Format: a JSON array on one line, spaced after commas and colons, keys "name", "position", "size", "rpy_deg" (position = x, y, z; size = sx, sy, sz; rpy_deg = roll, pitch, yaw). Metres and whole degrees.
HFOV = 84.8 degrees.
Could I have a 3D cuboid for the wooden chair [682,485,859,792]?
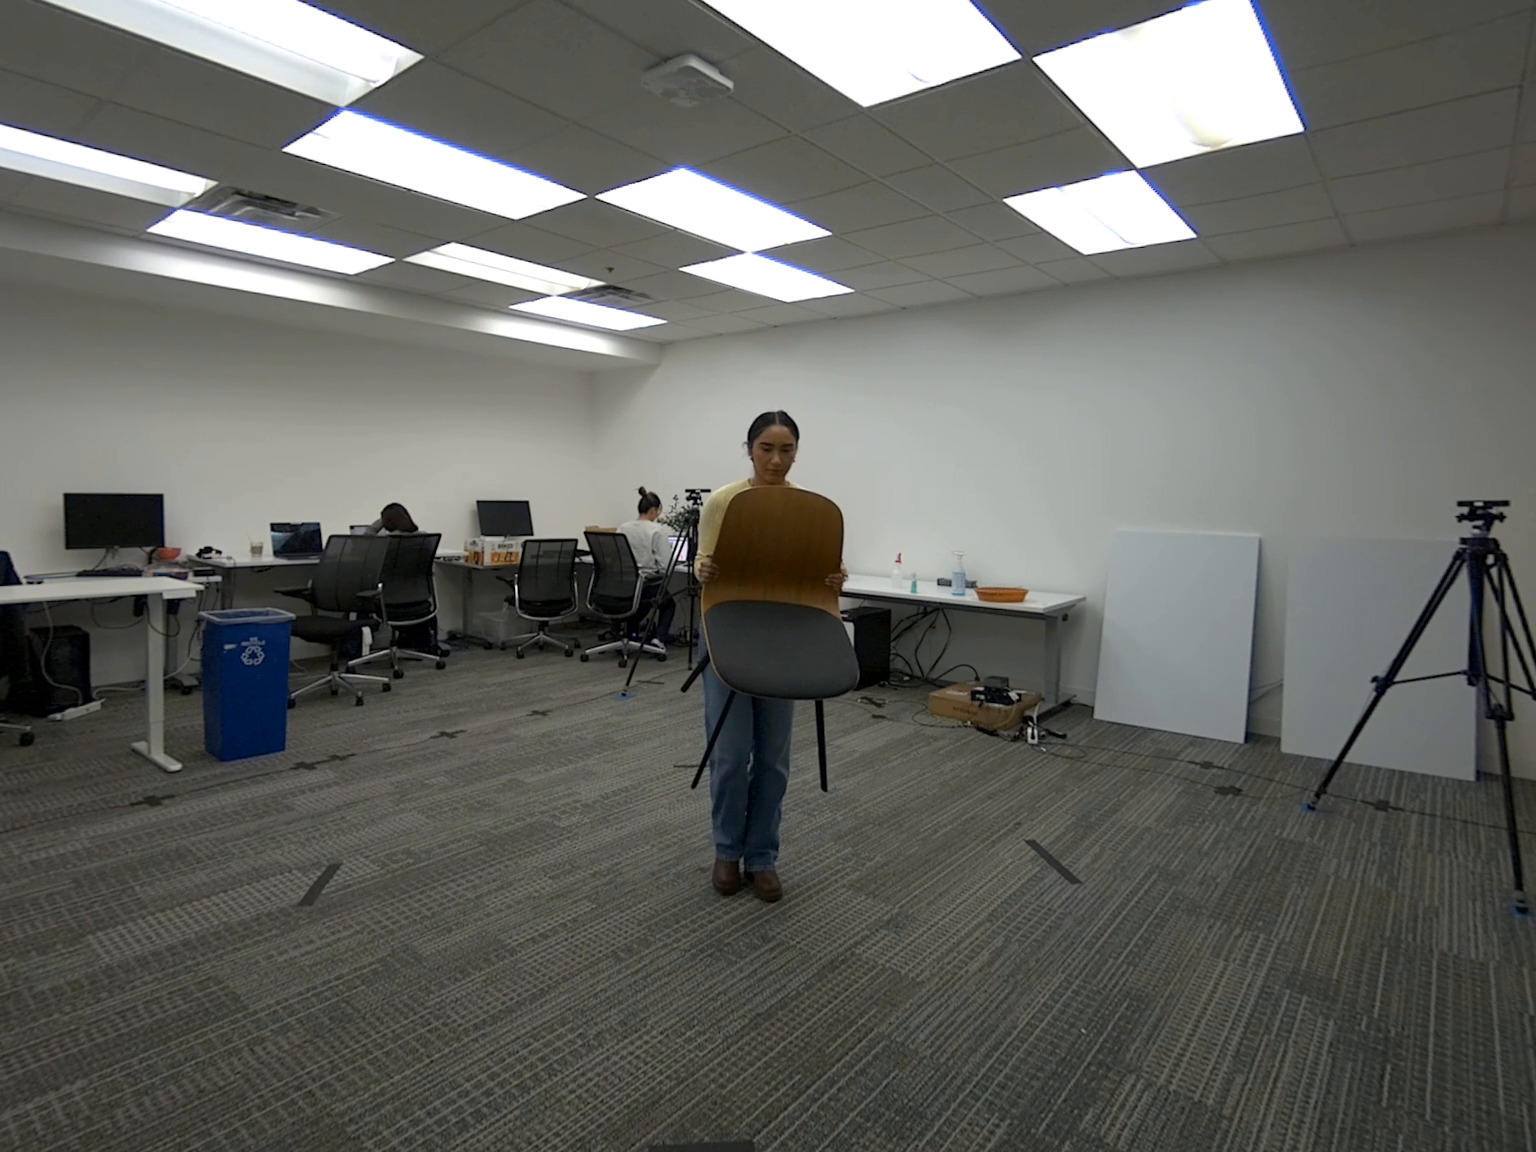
[{"name": "wooden chair", "position": [0.023, 0.221, 2.711], "size": [0.471, 0.862, 0.540], "rpy_deg": [5, 28, -13]}]
